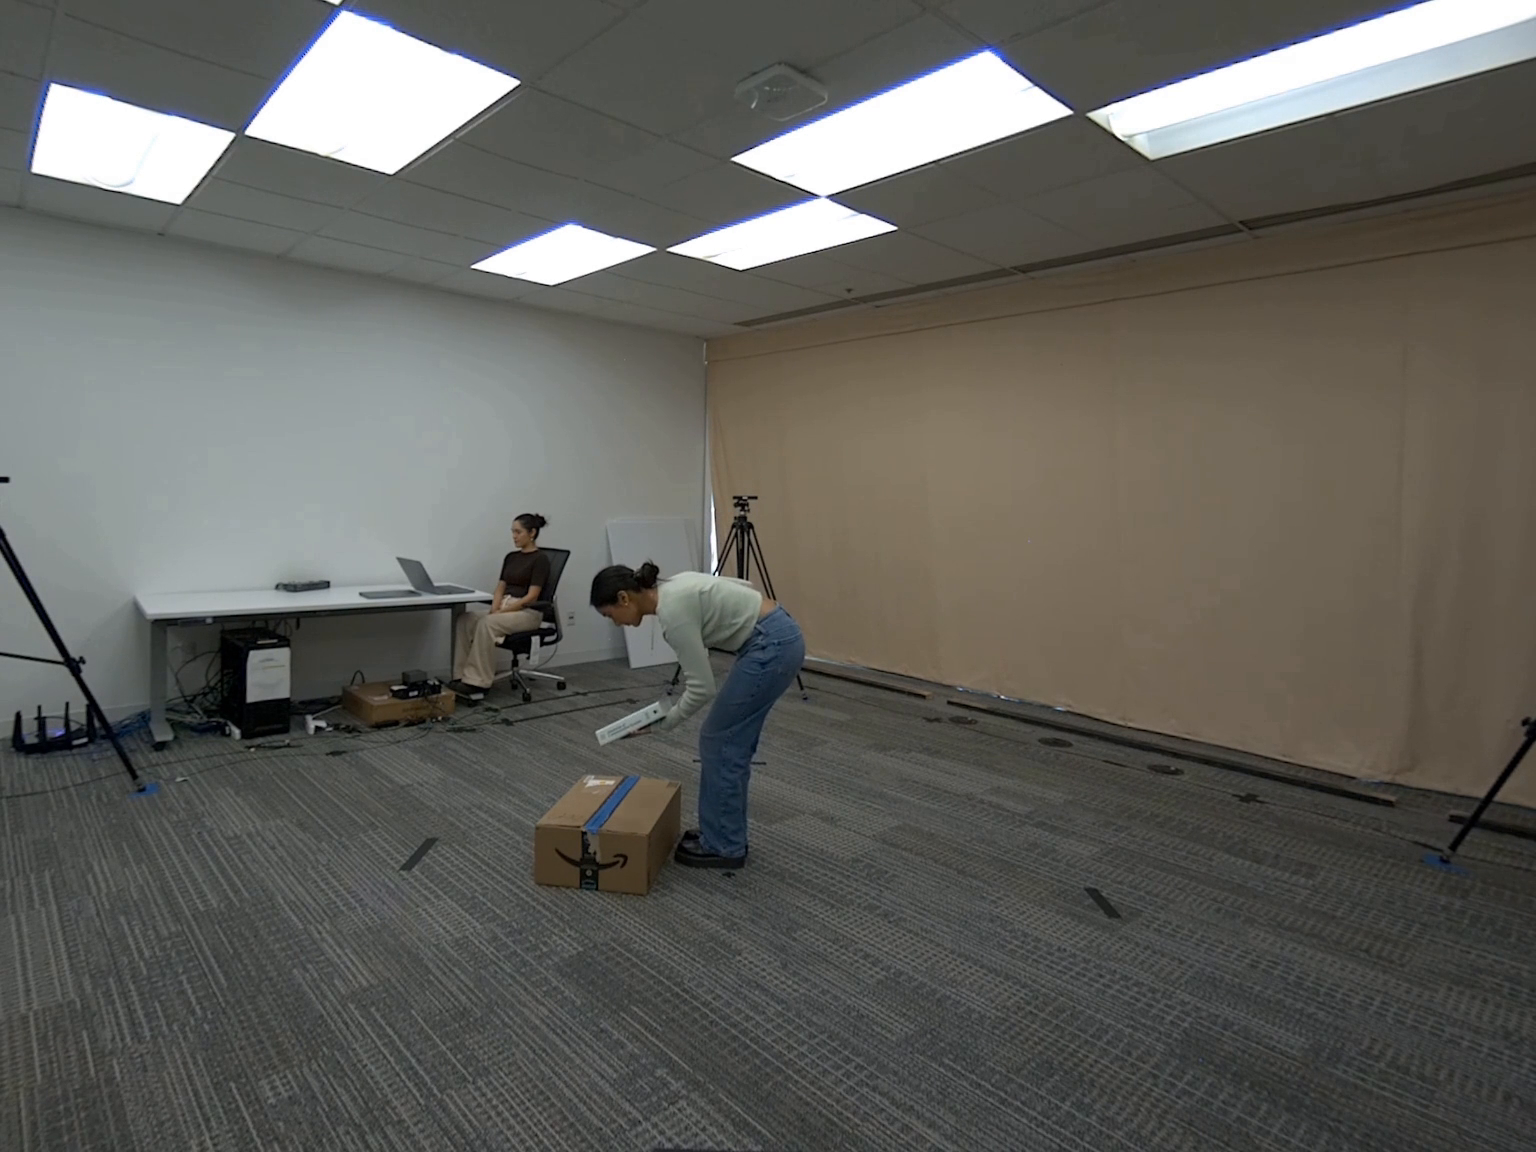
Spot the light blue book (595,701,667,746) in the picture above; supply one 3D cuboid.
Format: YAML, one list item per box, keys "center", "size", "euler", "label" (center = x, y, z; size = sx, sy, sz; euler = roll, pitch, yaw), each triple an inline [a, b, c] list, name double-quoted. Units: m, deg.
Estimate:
- center: [-0.496, 0.537, 3.118]
  size: [0.261, 0.059, 0.190]
  euler: [-26, -4, 6]
  label: "light blue book"
